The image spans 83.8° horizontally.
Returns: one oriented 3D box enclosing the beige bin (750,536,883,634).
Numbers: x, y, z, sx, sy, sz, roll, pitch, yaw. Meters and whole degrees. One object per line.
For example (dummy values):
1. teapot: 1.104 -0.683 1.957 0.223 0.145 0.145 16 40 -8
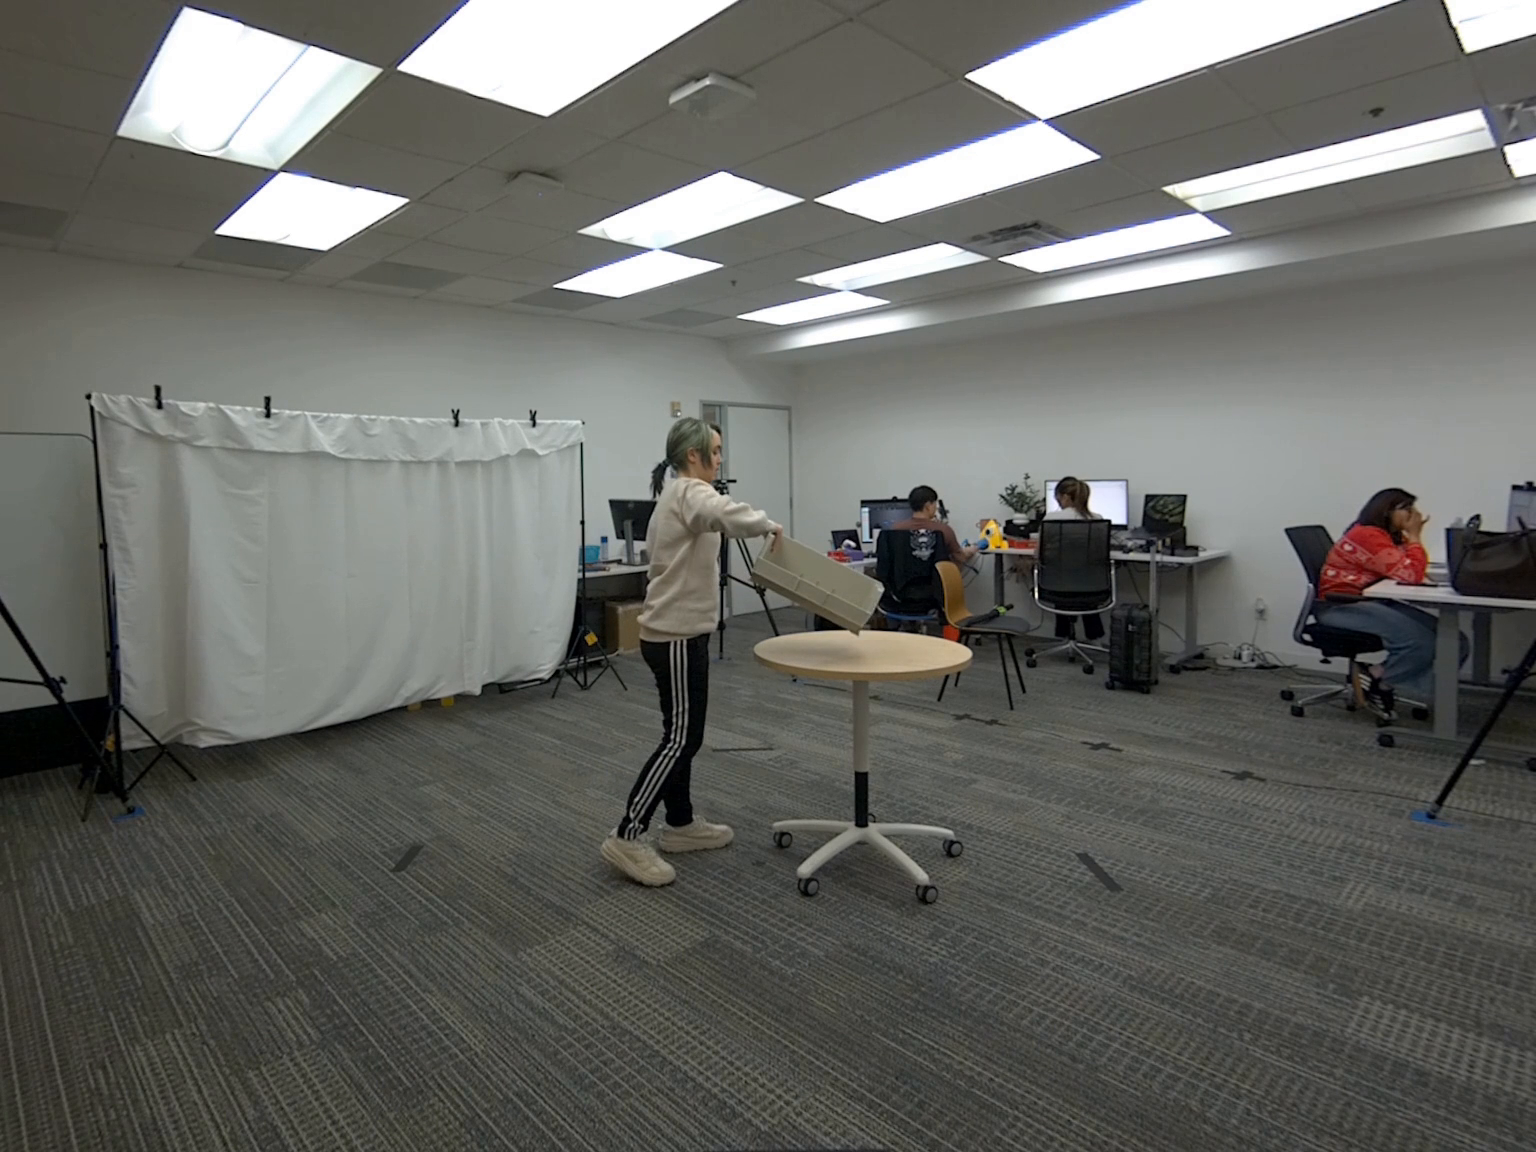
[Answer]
1. beige bin: 0.168 0.023 2.967 0.426 0.188 0.375 25 4 5
